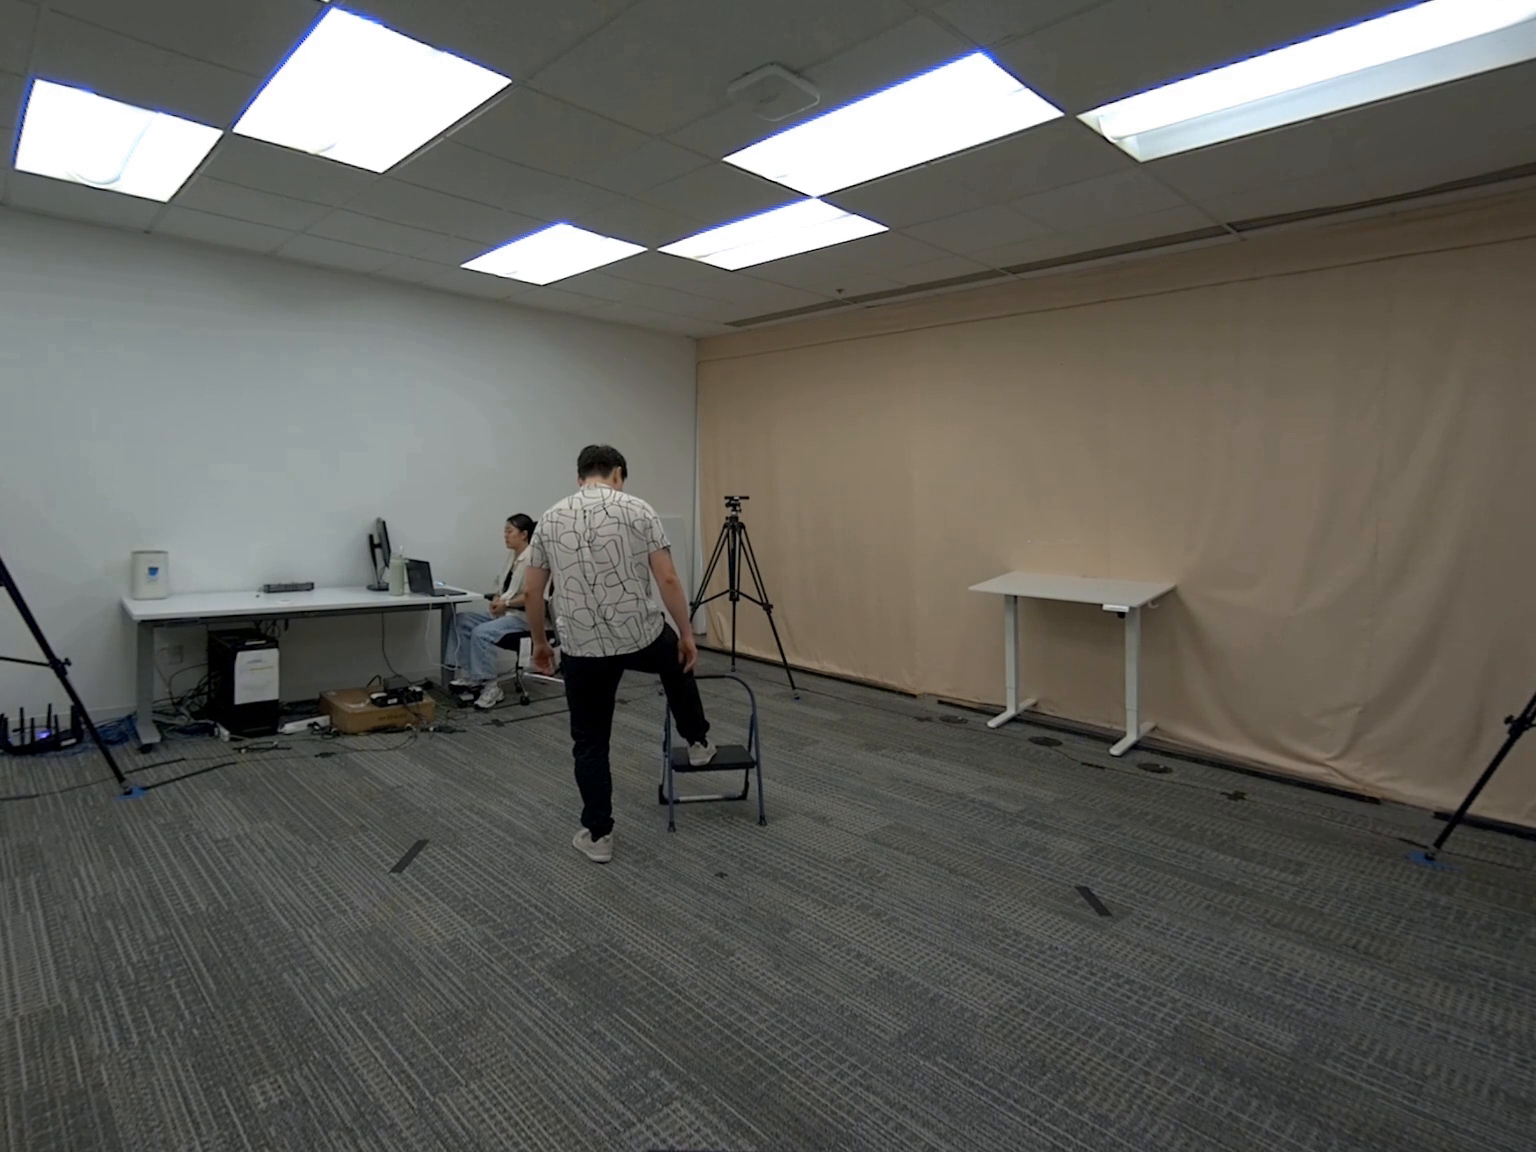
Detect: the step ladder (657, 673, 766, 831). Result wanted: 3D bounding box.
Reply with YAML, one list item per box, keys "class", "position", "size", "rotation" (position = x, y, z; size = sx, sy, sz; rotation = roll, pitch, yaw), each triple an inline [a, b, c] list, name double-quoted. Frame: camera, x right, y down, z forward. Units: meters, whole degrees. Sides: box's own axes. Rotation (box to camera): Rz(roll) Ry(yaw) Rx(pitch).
- class: "step ladder"
  position: [-0.253, 0.746, 3.703]
  size: [0.425, 0.605, 0.354]
  rotation: [1, 3, -15]
